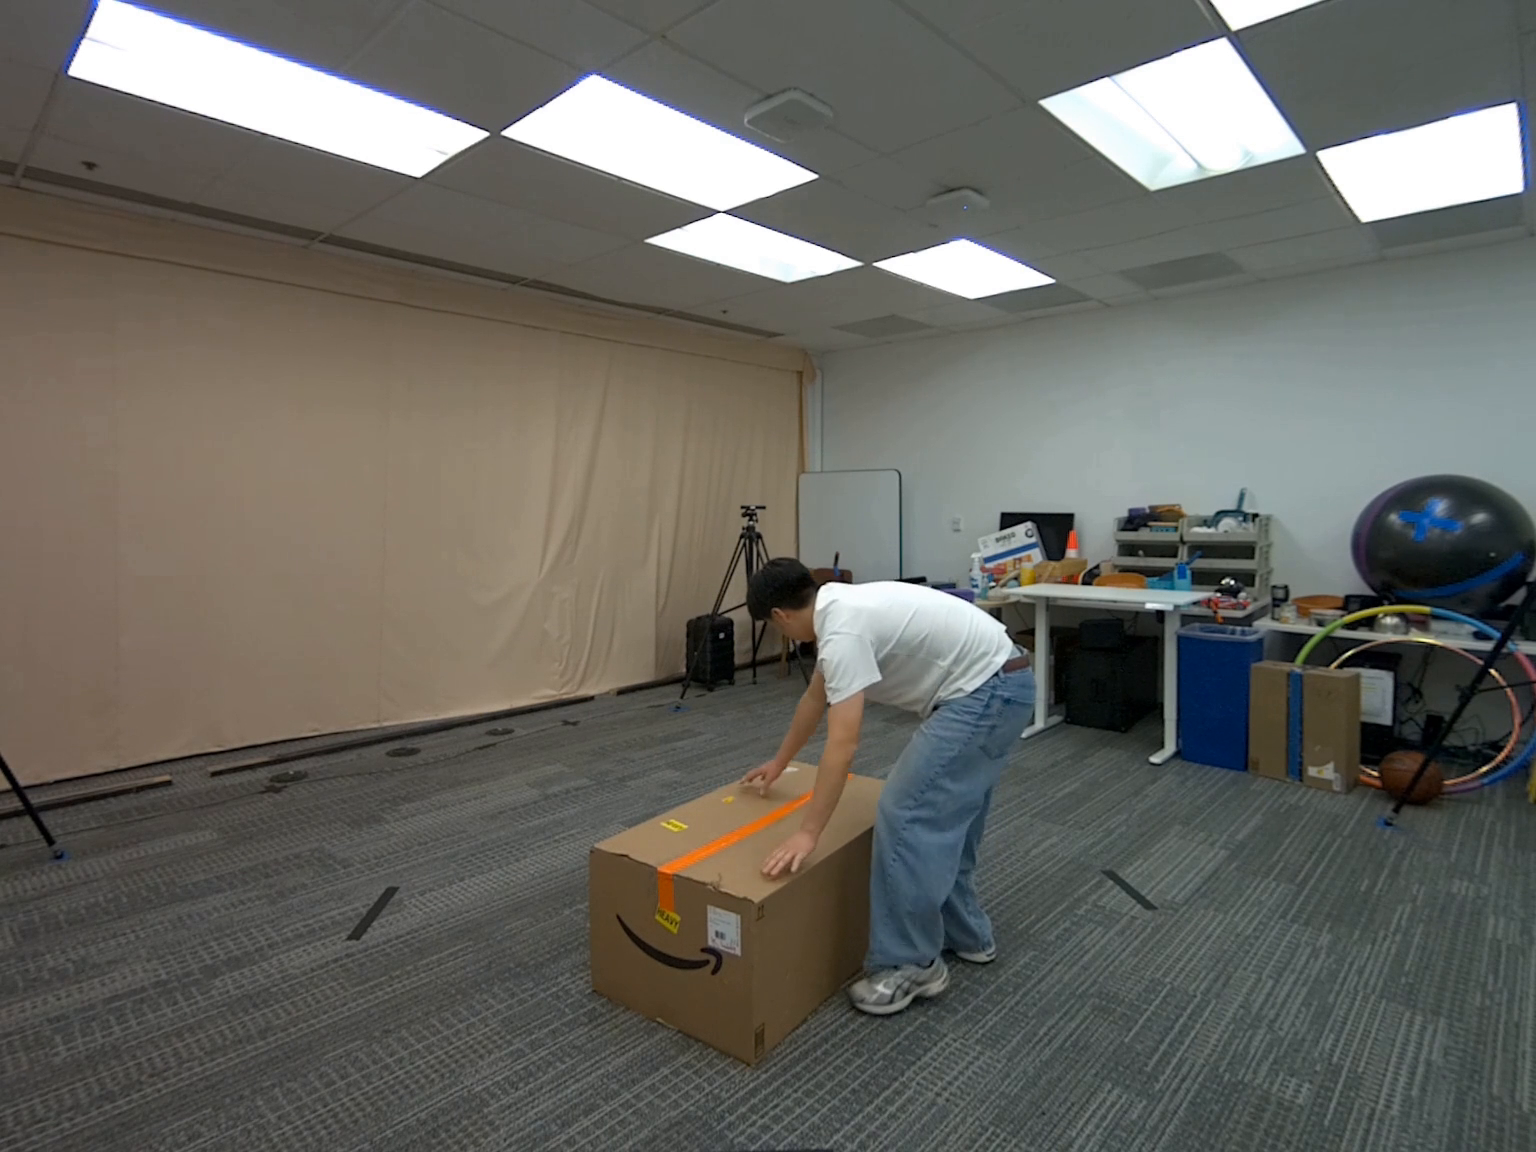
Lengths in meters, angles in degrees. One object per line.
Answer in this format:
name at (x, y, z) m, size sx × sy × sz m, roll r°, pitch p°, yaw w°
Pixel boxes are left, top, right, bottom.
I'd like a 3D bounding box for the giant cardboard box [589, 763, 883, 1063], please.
giant cardboard box at (0.014, 0.959, 2.641) m, size 0.596 × 0.425 × 0.996 m, roll 3°, pitch 5°, yaw 36°
